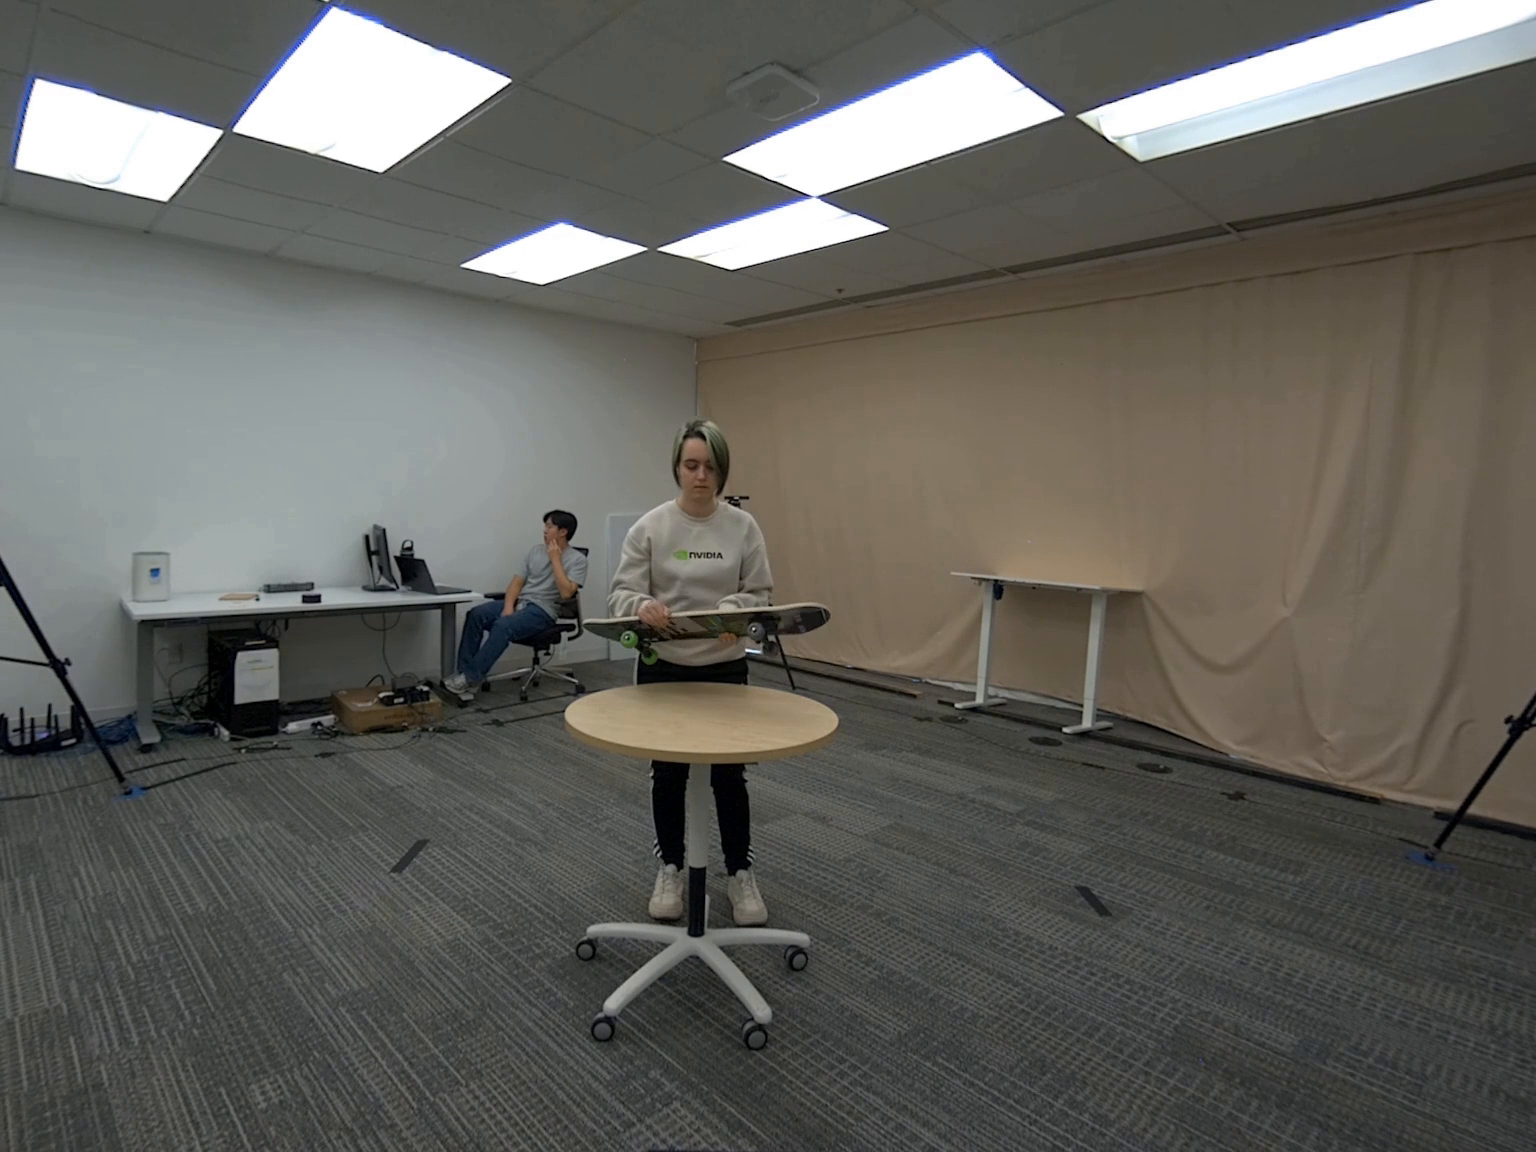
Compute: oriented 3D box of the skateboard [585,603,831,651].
[{"bbox_3d":[-0.200,0.181,2.514,0.794,0.112,0.188,-5,-27,16],"label":"skateboard"}]
